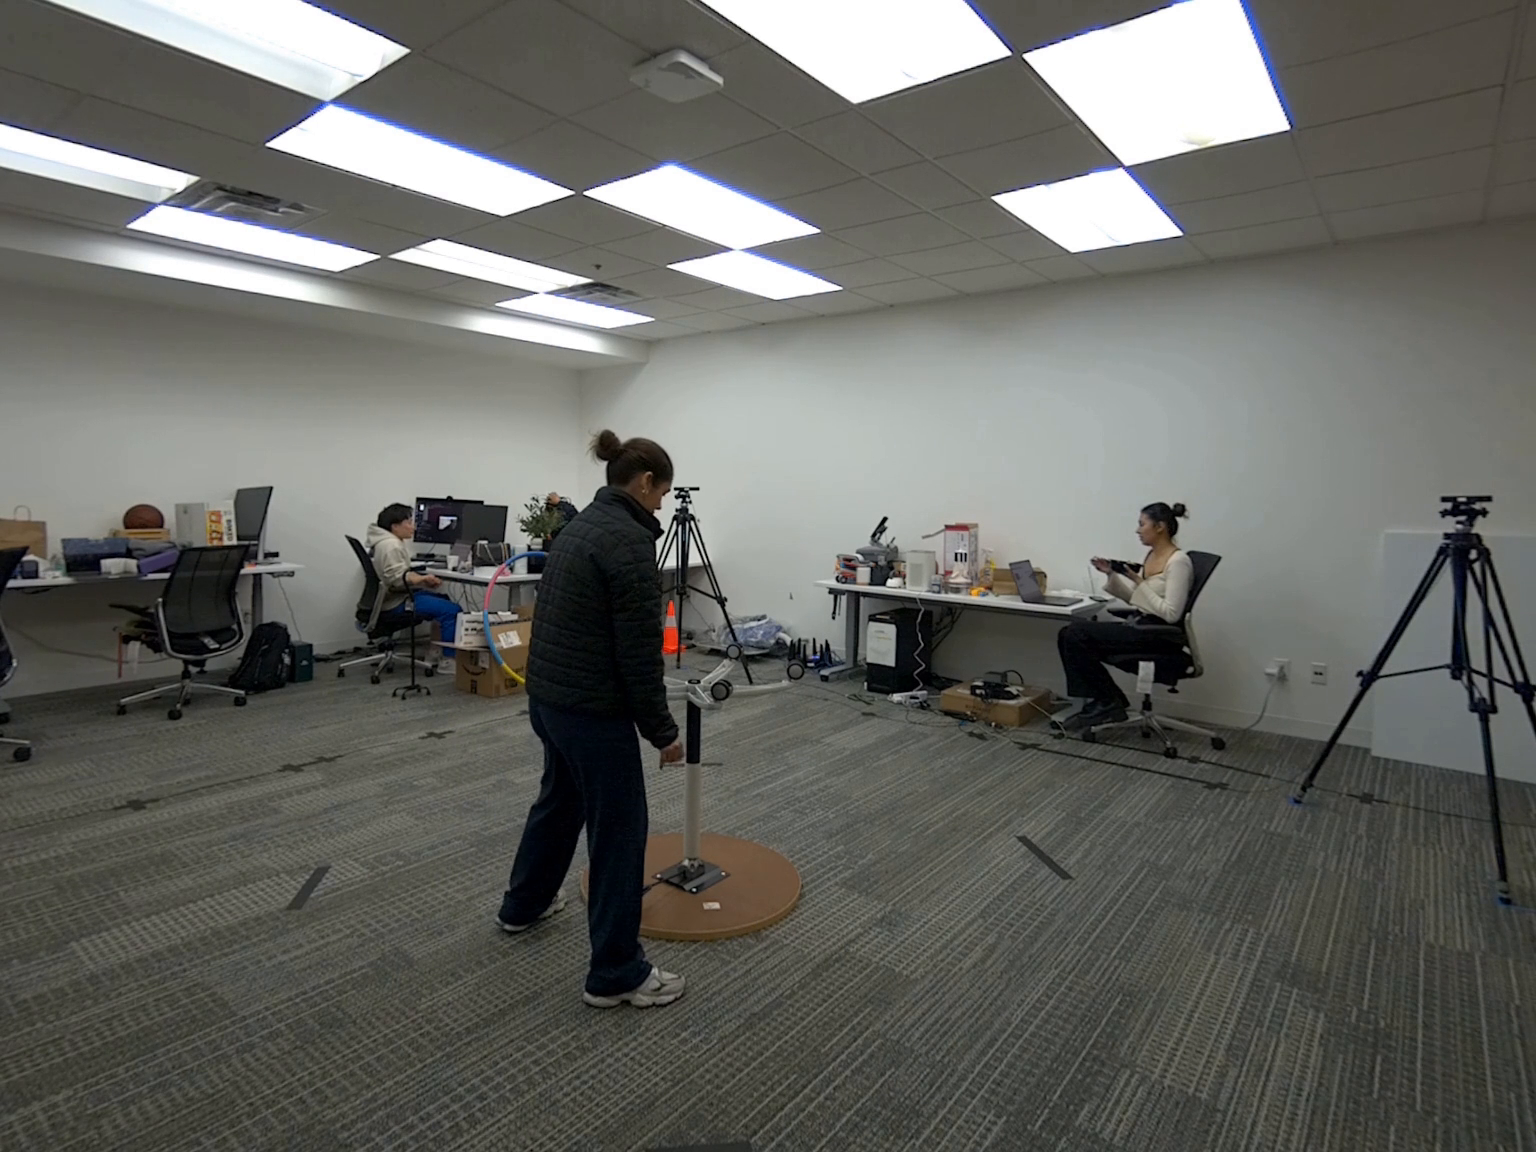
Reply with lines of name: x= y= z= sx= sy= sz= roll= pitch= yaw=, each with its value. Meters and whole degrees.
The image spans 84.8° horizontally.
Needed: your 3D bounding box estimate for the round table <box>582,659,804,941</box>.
round table: x=-0.257 y=0.676 z=2.980 sx=0.784 sy=0.784 sz=0.789 roll=1 pitch=4 yaw=-2
